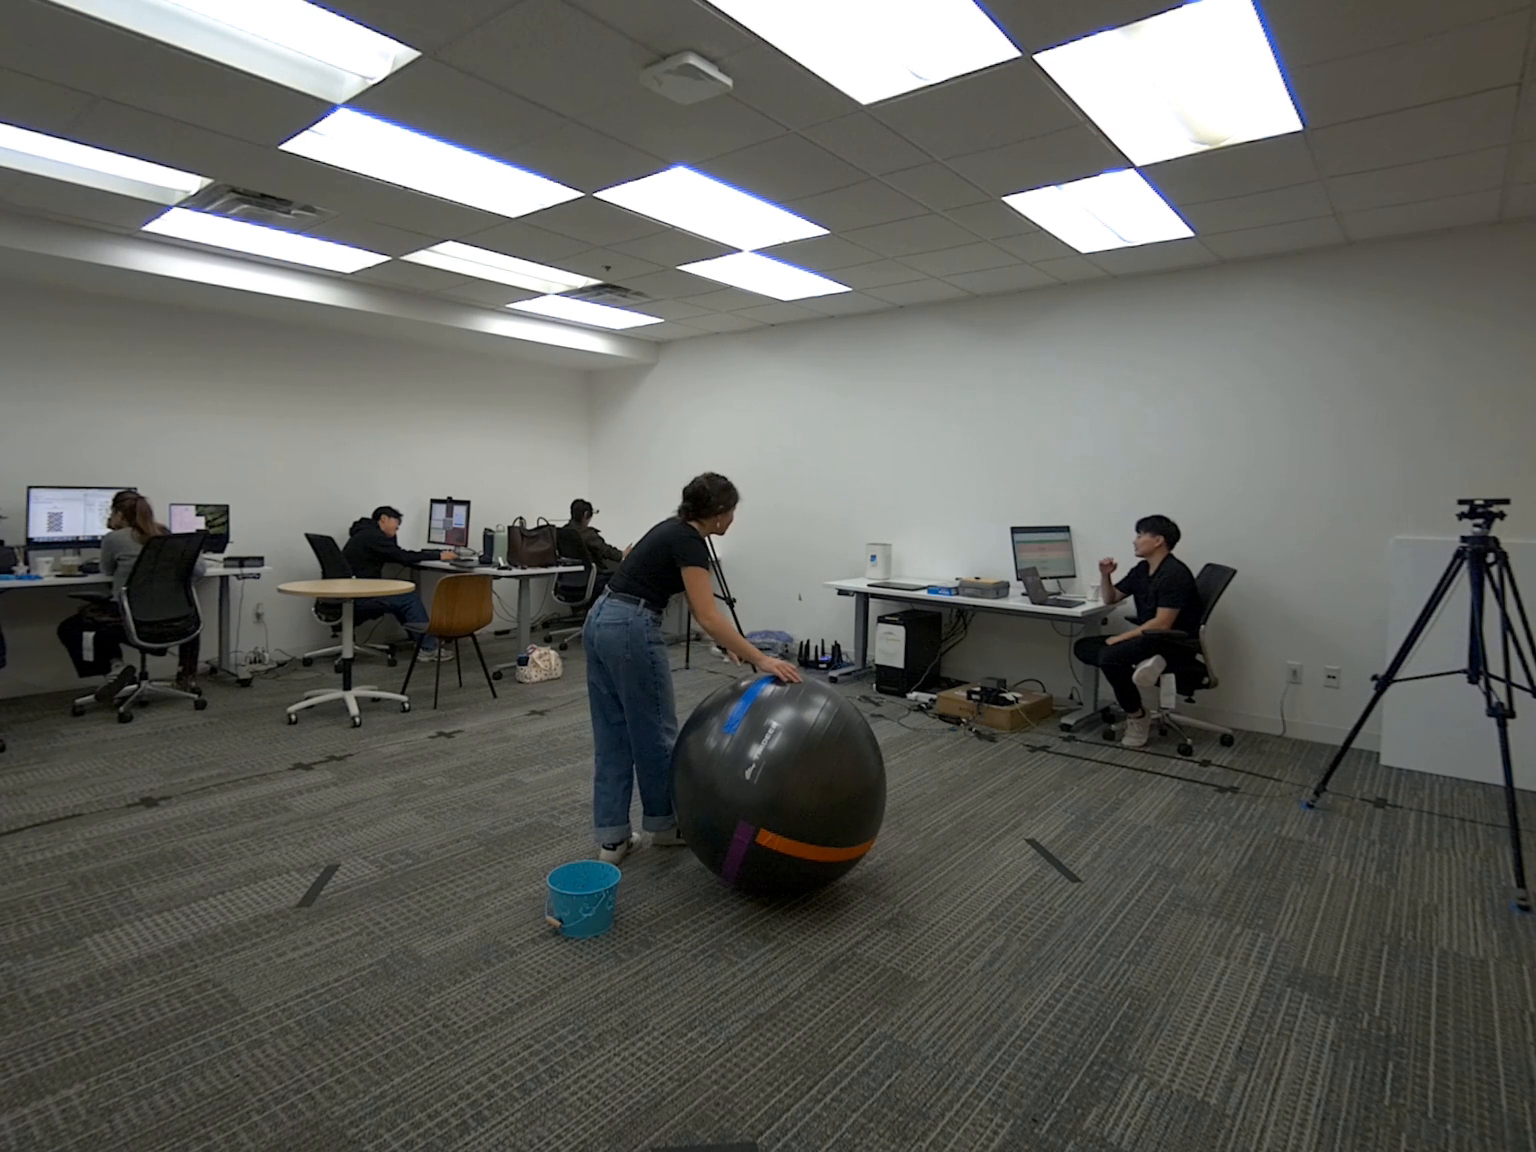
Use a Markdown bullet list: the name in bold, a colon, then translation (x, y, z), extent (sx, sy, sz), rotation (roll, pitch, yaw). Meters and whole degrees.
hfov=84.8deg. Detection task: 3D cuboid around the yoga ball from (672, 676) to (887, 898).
- **yoga ball**: translation (0.025, 0.717, 2.992), extent (0.757, 0.756, 0.762), rotation (1, 4, -2)
